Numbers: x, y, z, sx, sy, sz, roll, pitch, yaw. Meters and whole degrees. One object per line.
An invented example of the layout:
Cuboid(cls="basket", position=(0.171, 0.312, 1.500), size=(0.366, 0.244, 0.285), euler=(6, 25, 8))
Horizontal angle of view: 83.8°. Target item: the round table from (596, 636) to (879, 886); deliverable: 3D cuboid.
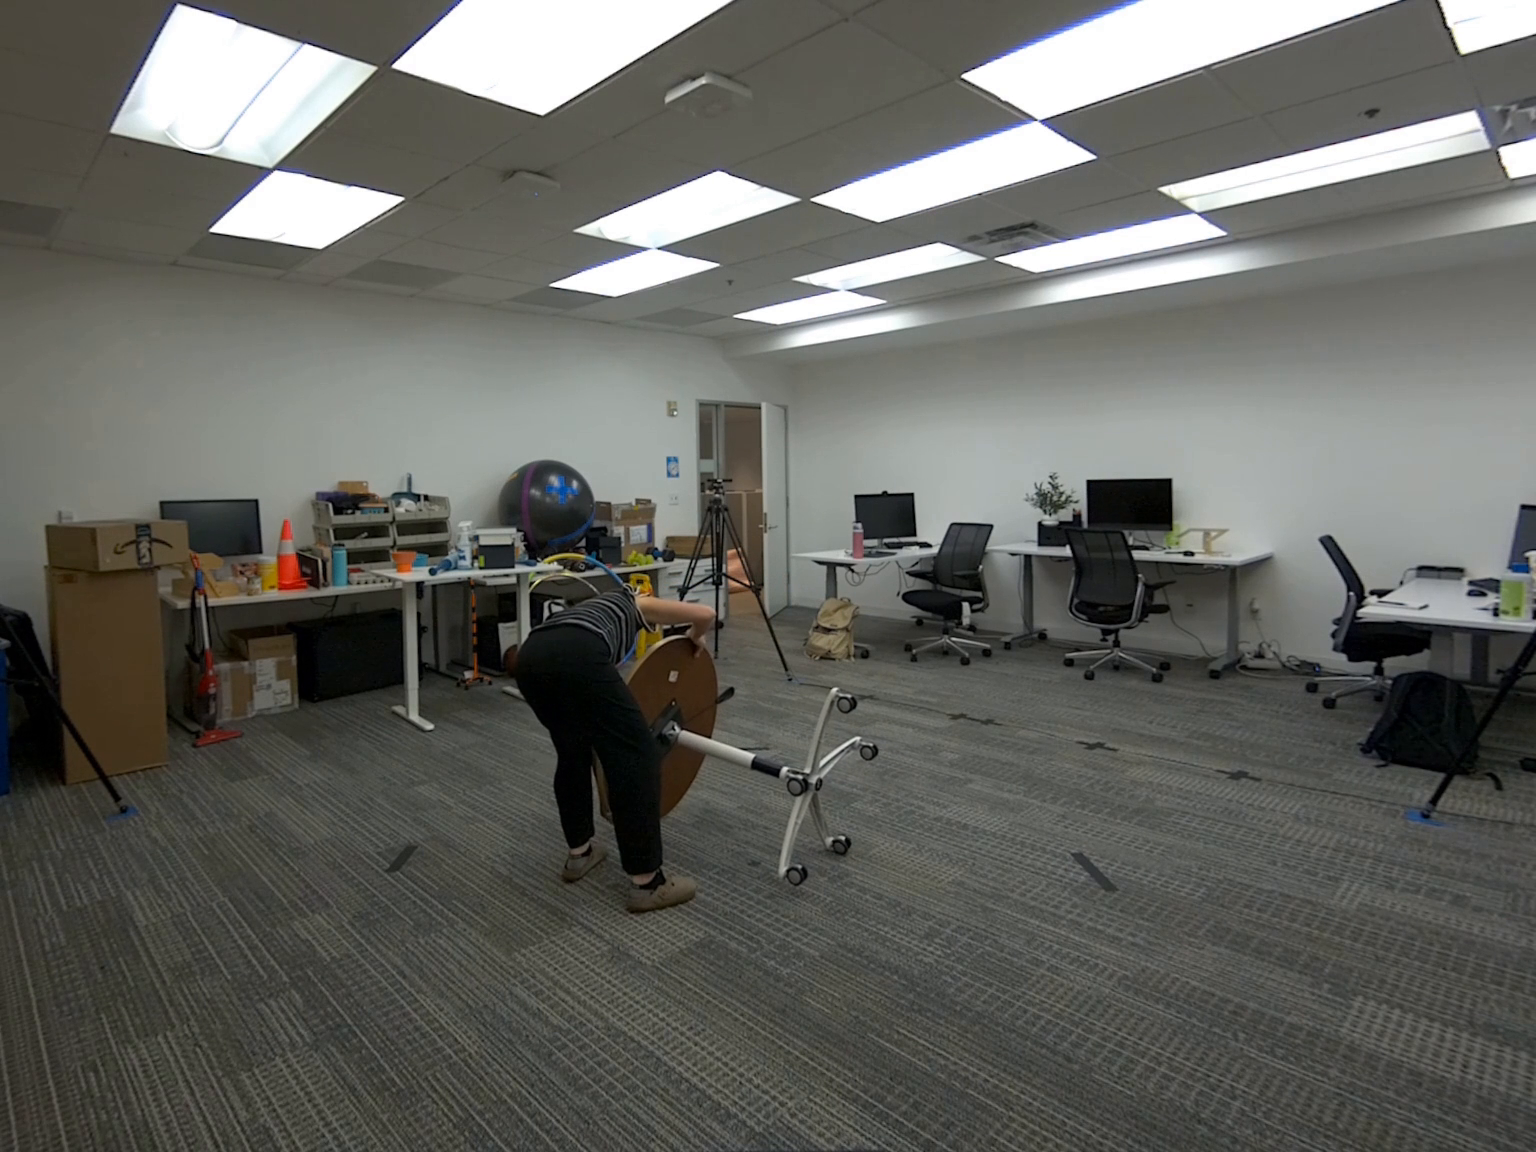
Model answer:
Cuboid(cls="round table", position=(-0.087, 0.691, 3.199), size=(0.817, 0.759, 0.747), euler=(11, 10, 30))
